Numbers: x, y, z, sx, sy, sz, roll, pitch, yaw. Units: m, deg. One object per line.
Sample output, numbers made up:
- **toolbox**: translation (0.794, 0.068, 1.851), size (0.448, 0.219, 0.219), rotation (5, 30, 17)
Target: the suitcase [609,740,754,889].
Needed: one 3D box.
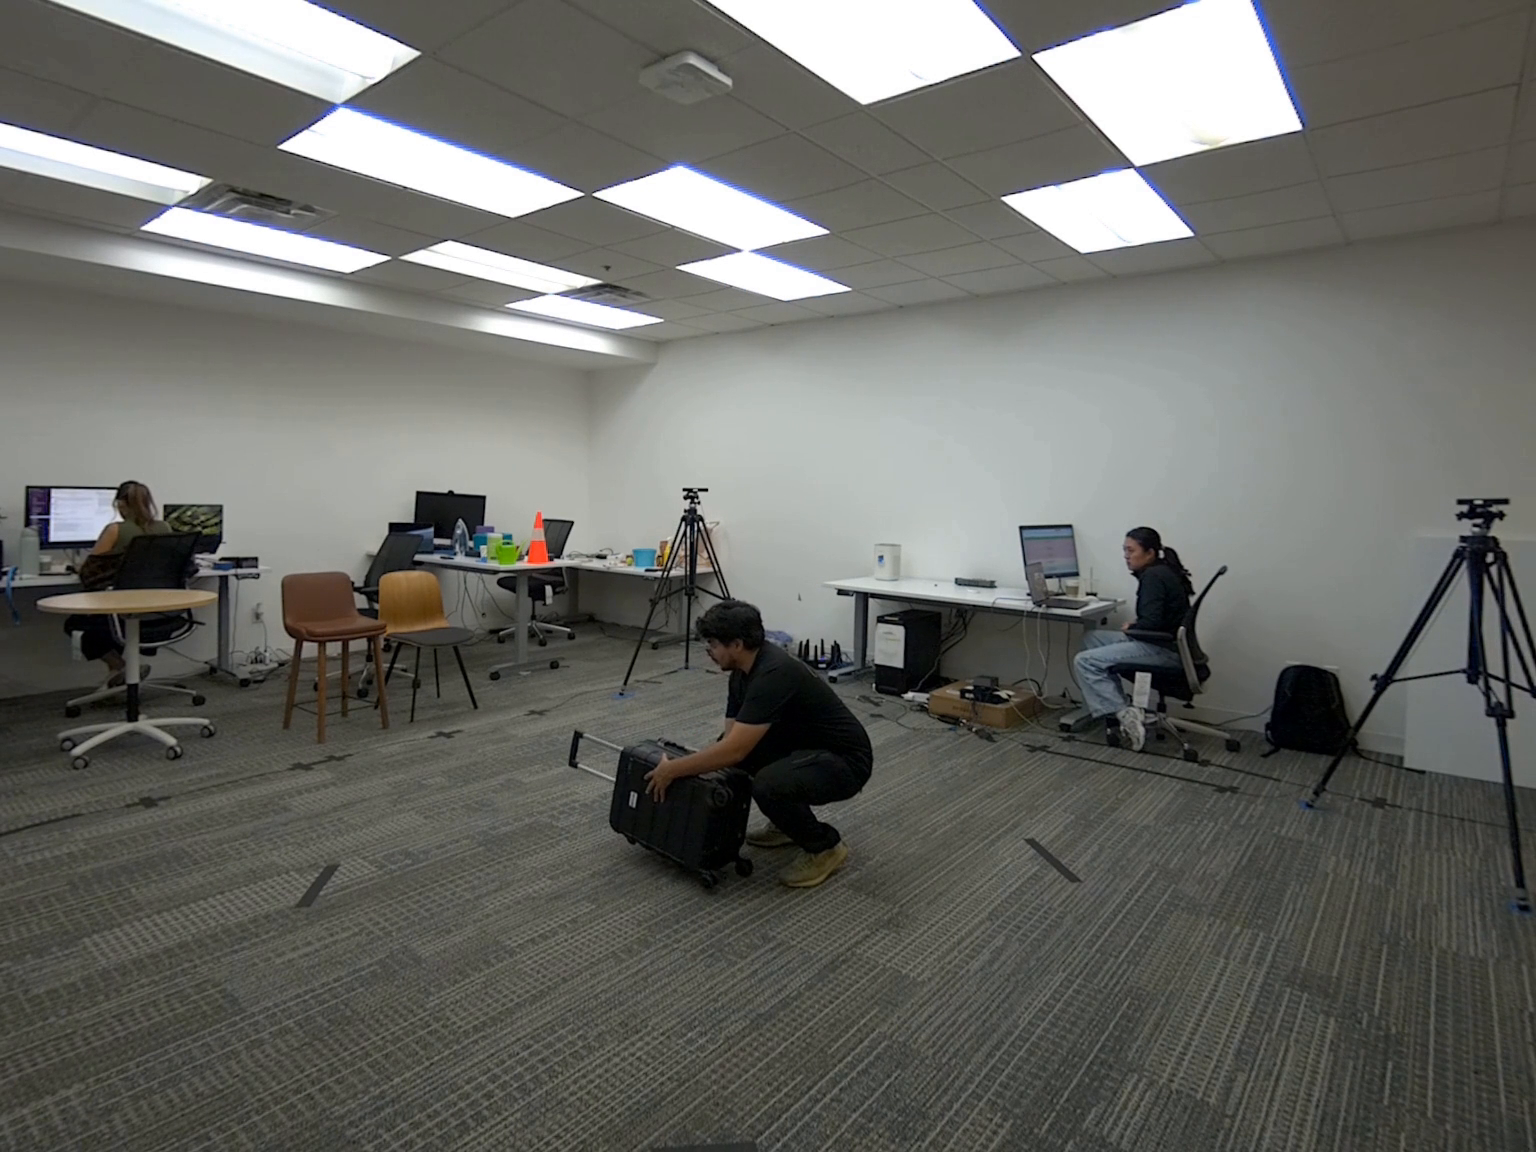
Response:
- **suitcase**: translation (-0.503, 0.805, 3.273), size (1.013, 0.384, 0.248), rotation (11, 2, 36)
